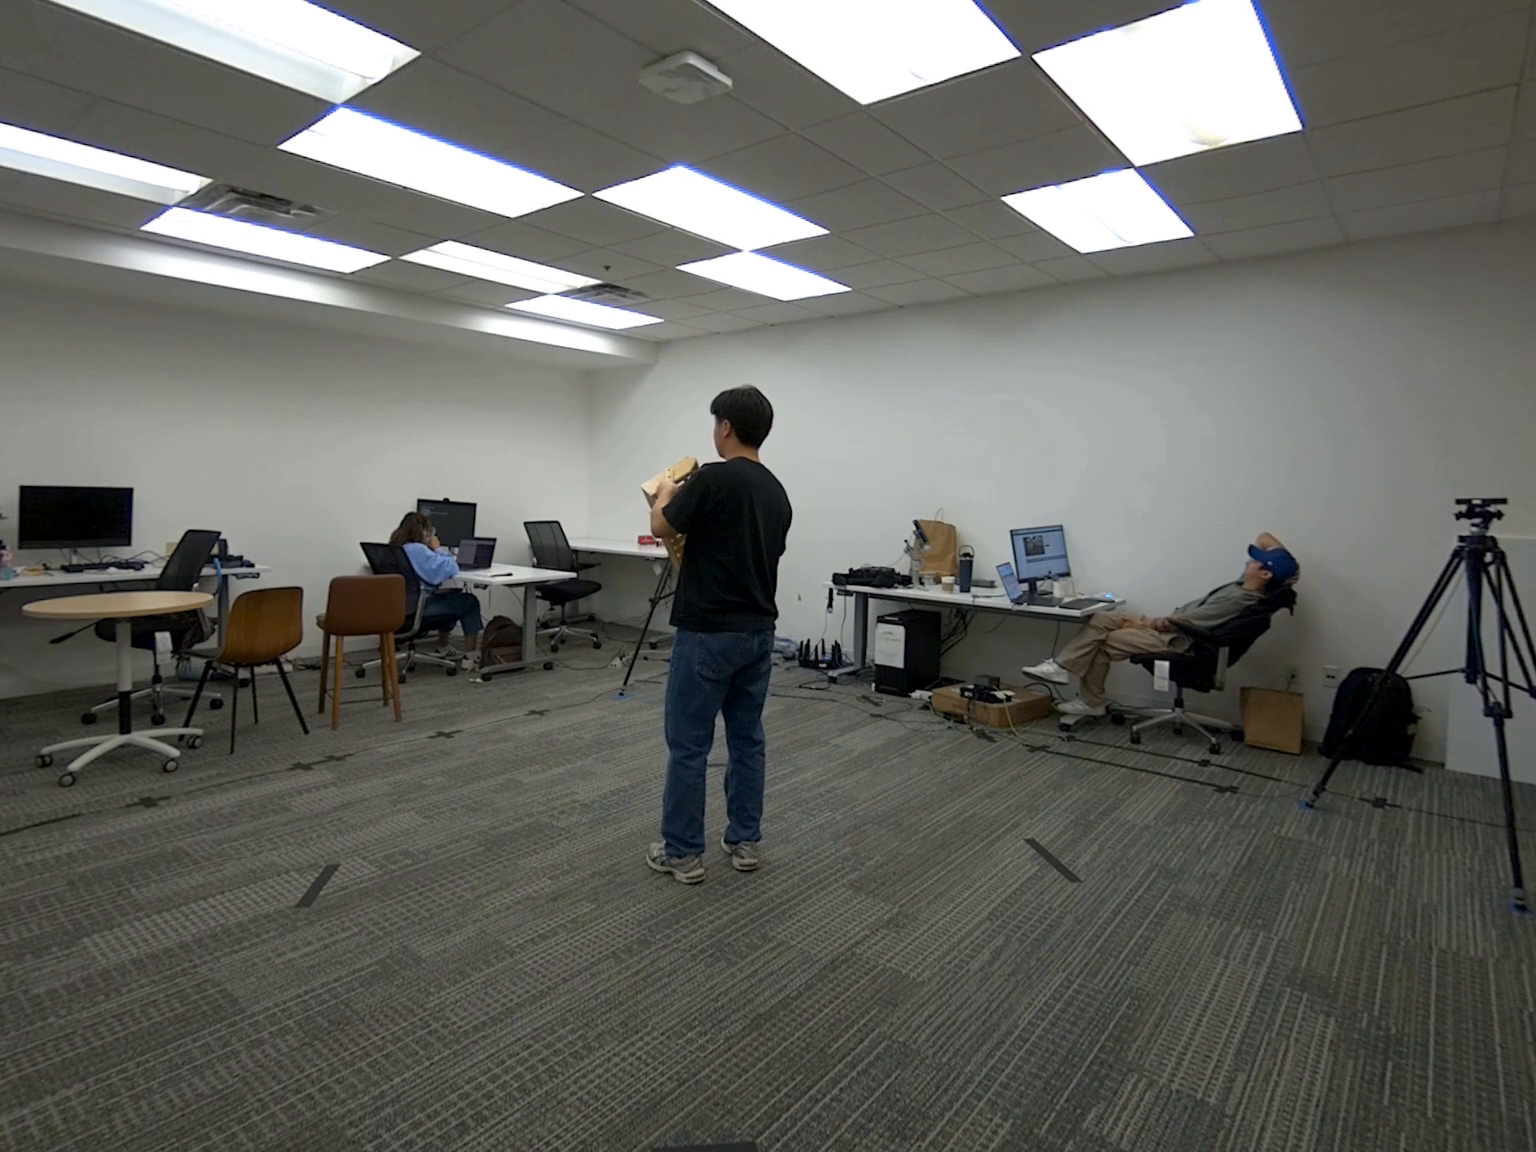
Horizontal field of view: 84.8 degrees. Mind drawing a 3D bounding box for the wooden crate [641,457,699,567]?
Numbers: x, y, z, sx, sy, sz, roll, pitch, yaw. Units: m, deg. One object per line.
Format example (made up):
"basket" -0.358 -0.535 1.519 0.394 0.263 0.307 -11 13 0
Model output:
"wooden crate" -0.339 -0.252 3.451 0.300 0.312 0.285 -33 44 -14
